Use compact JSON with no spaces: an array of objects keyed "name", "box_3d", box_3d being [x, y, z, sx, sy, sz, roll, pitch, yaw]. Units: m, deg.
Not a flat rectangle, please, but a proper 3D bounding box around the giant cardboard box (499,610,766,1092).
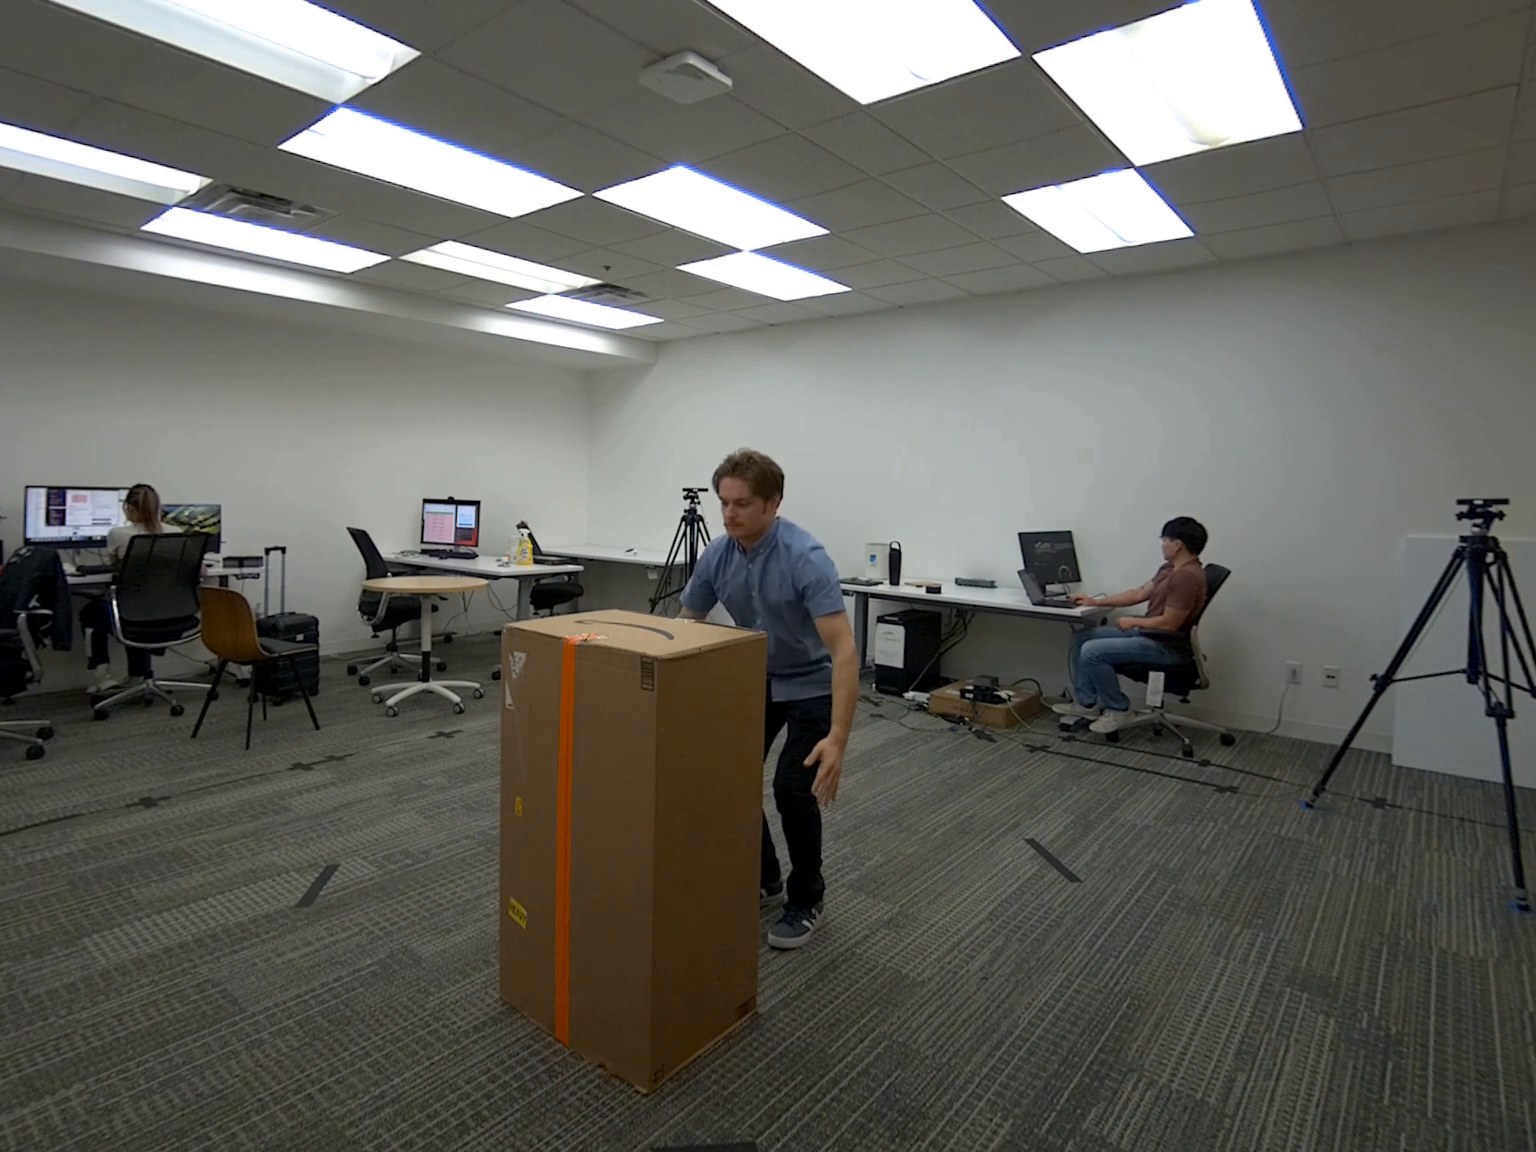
[{"name":"giant cardboard box","box_3d":[-0.375,0.646,2.246,0.597,1.022,0.413,5,5,39]}]
